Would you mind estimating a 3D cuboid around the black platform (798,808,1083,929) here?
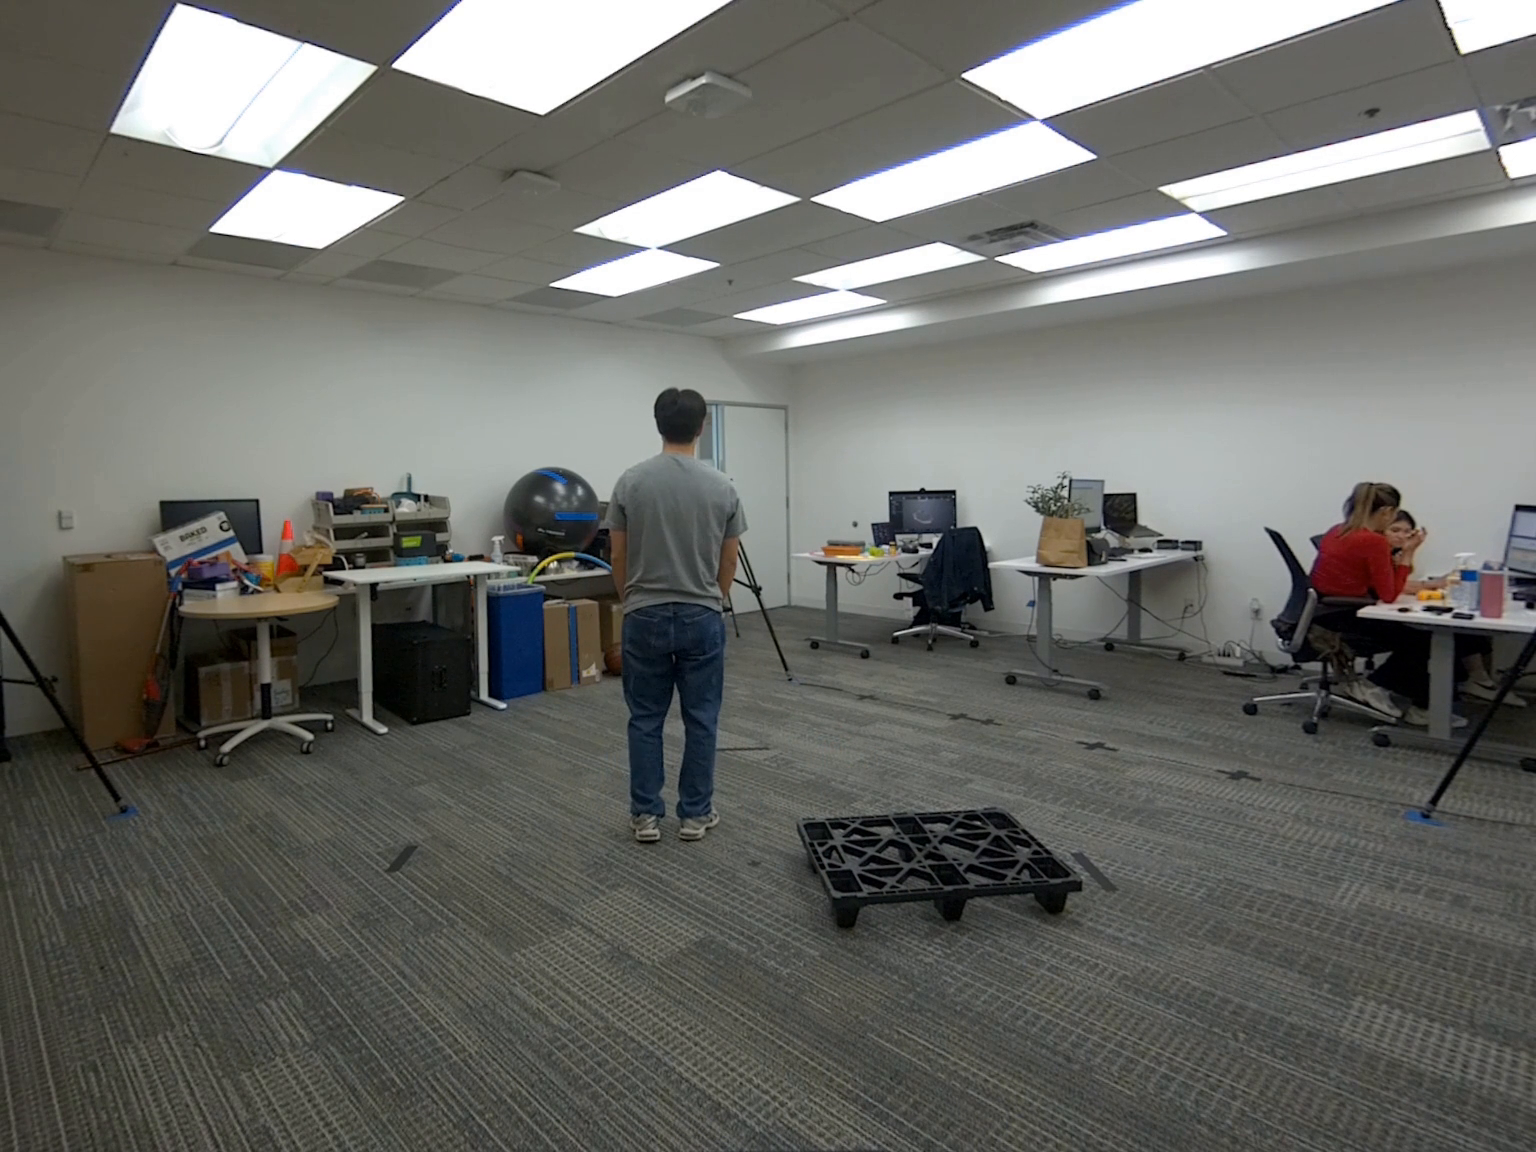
[{"bbox_3d":[0.543,0.989,2.916,0.801,0.143,0.611,-2,6,-7],"label":"black platform"}]
